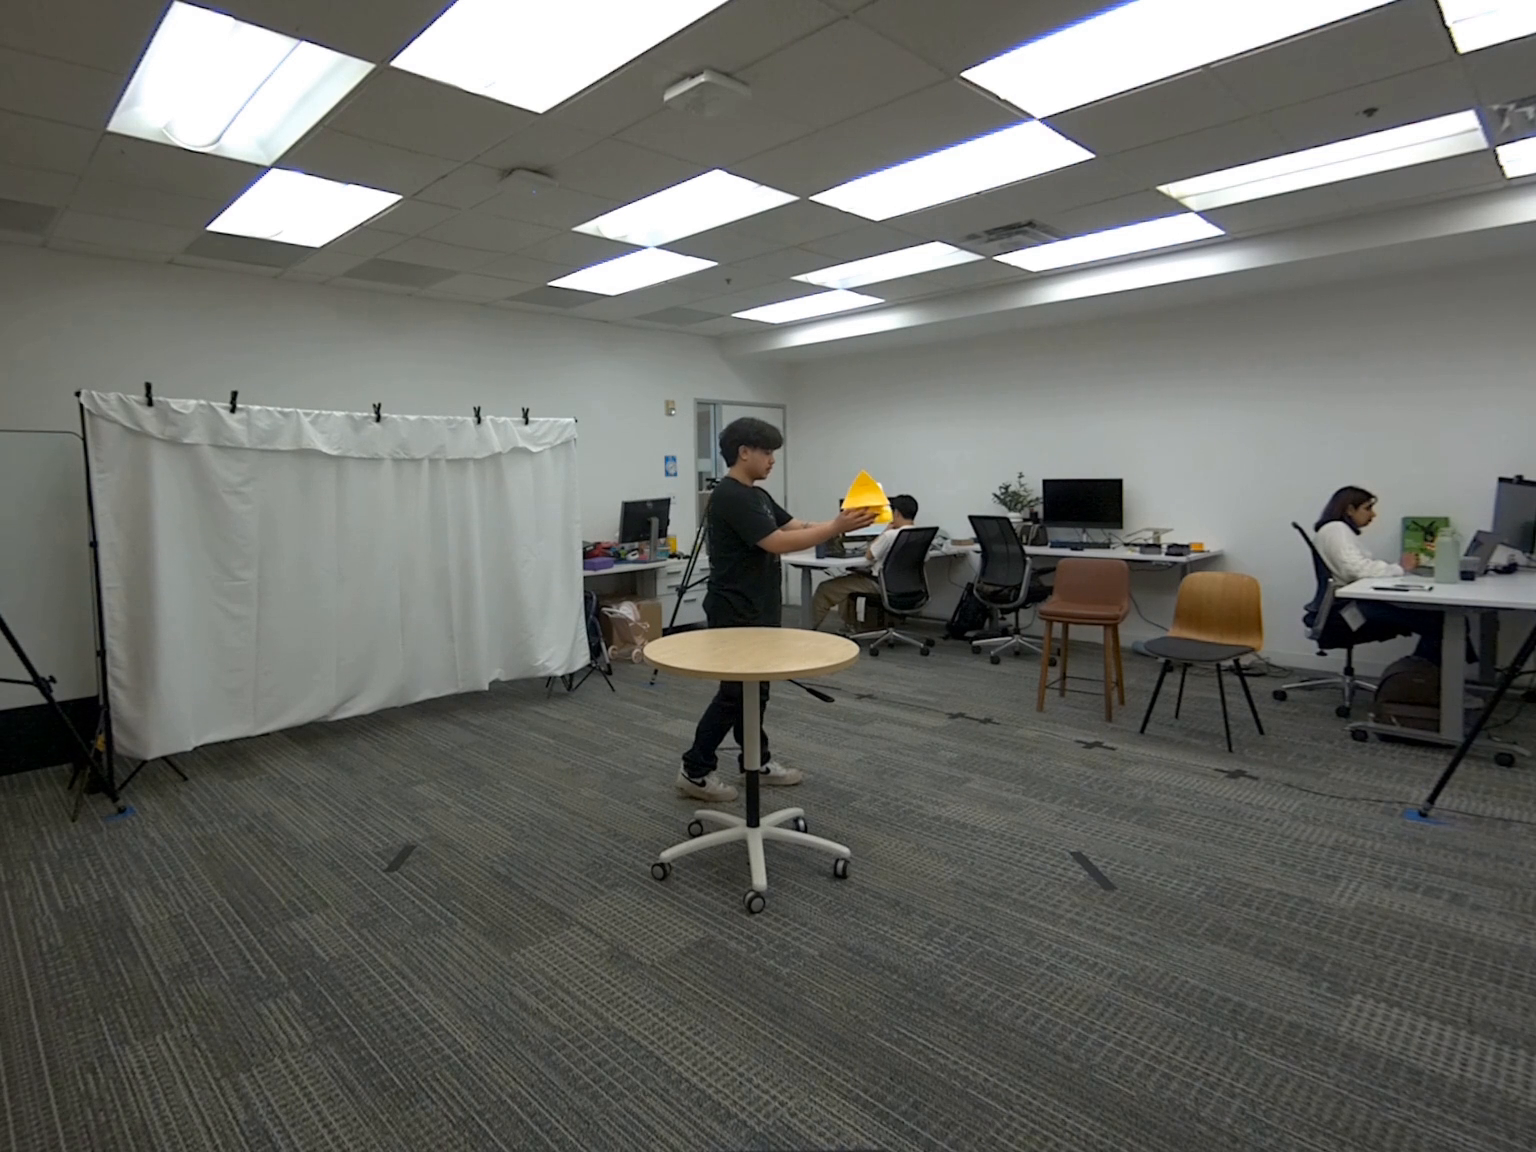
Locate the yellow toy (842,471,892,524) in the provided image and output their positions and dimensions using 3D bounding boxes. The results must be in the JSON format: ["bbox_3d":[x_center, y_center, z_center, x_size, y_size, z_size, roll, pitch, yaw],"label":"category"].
[{"bbox_3d":[0.422,-0.339,3.646,0.207,0.229,0.191,-5,6,14],"label":"yellow toy"}]
